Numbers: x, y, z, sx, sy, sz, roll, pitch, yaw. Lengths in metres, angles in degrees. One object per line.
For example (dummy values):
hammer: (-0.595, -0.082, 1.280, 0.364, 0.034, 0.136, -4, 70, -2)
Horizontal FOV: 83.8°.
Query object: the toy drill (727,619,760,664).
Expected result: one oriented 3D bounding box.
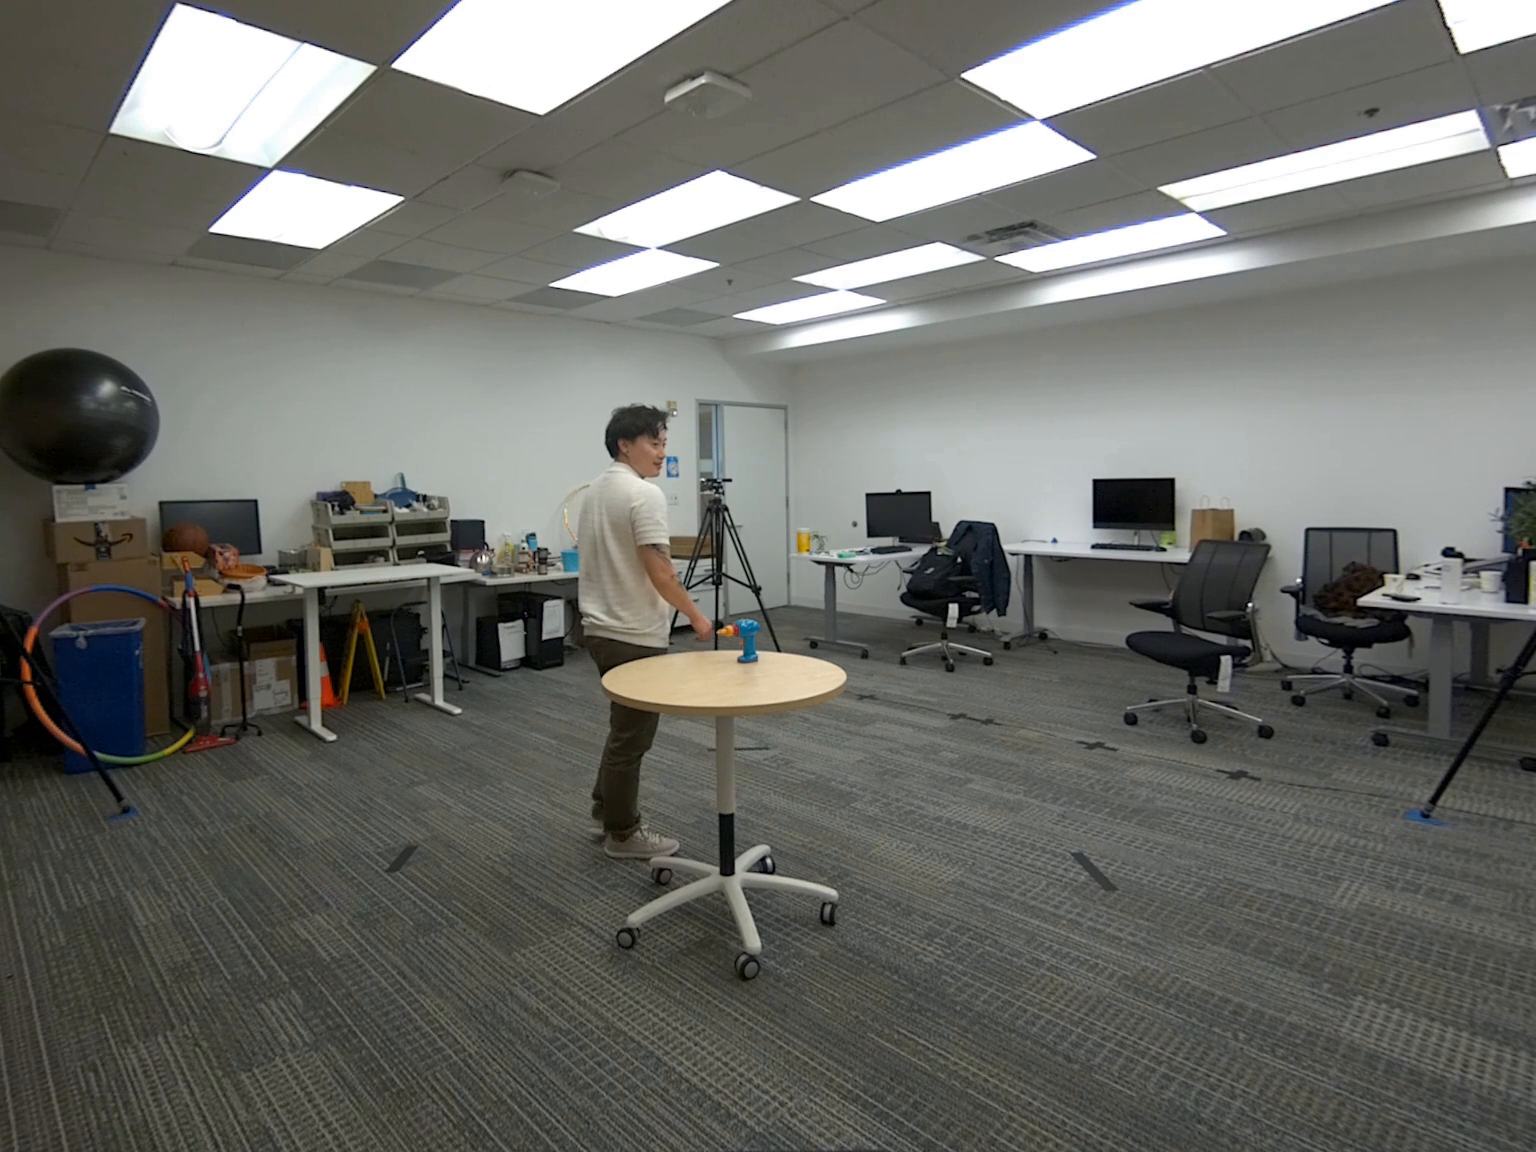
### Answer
toy drill: (-0.098, 0.217, 2.861, 0.165, 0.145, 0.063, -3, 7, -34)
